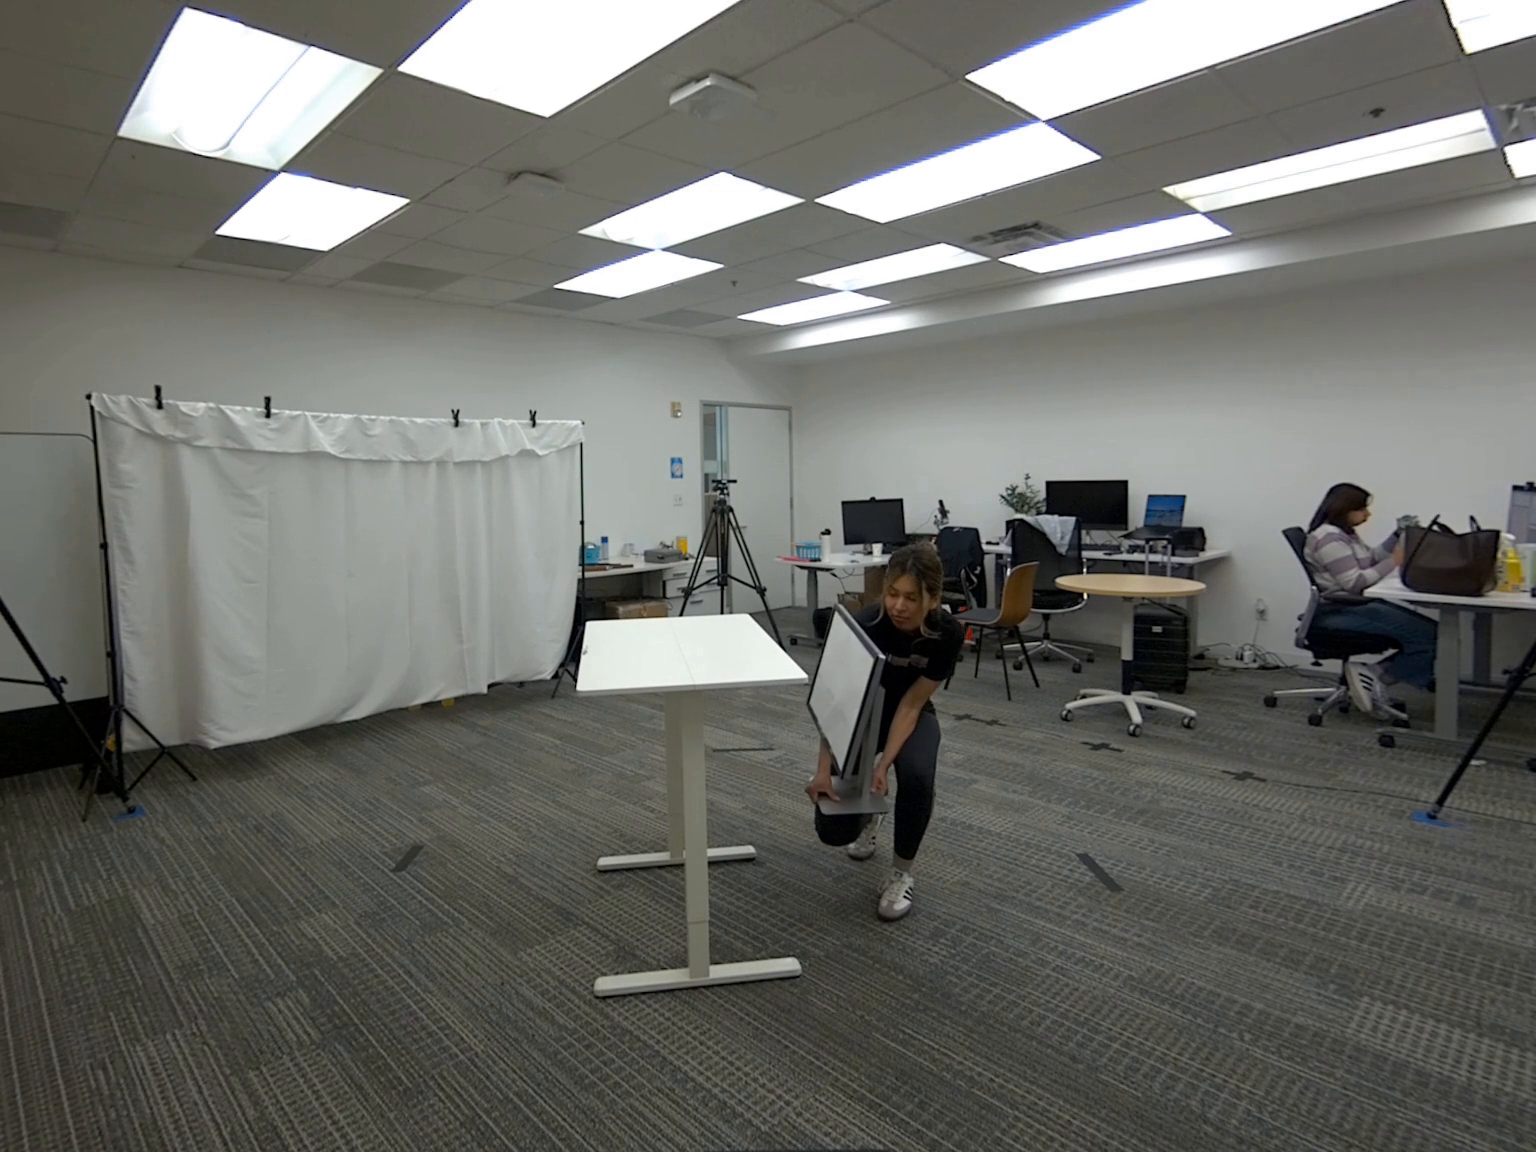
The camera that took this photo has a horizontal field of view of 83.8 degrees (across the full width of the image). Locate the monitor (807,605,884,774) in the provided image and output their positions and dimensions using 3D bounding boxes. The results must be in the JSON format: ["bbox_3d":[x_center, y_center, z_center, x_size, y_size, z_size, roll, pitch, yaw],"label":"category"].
[{"bbox_3d":[0.252,0.425,2.577,0.186,0.518,0.548,1,10,-8],"label":"monitor"}]
